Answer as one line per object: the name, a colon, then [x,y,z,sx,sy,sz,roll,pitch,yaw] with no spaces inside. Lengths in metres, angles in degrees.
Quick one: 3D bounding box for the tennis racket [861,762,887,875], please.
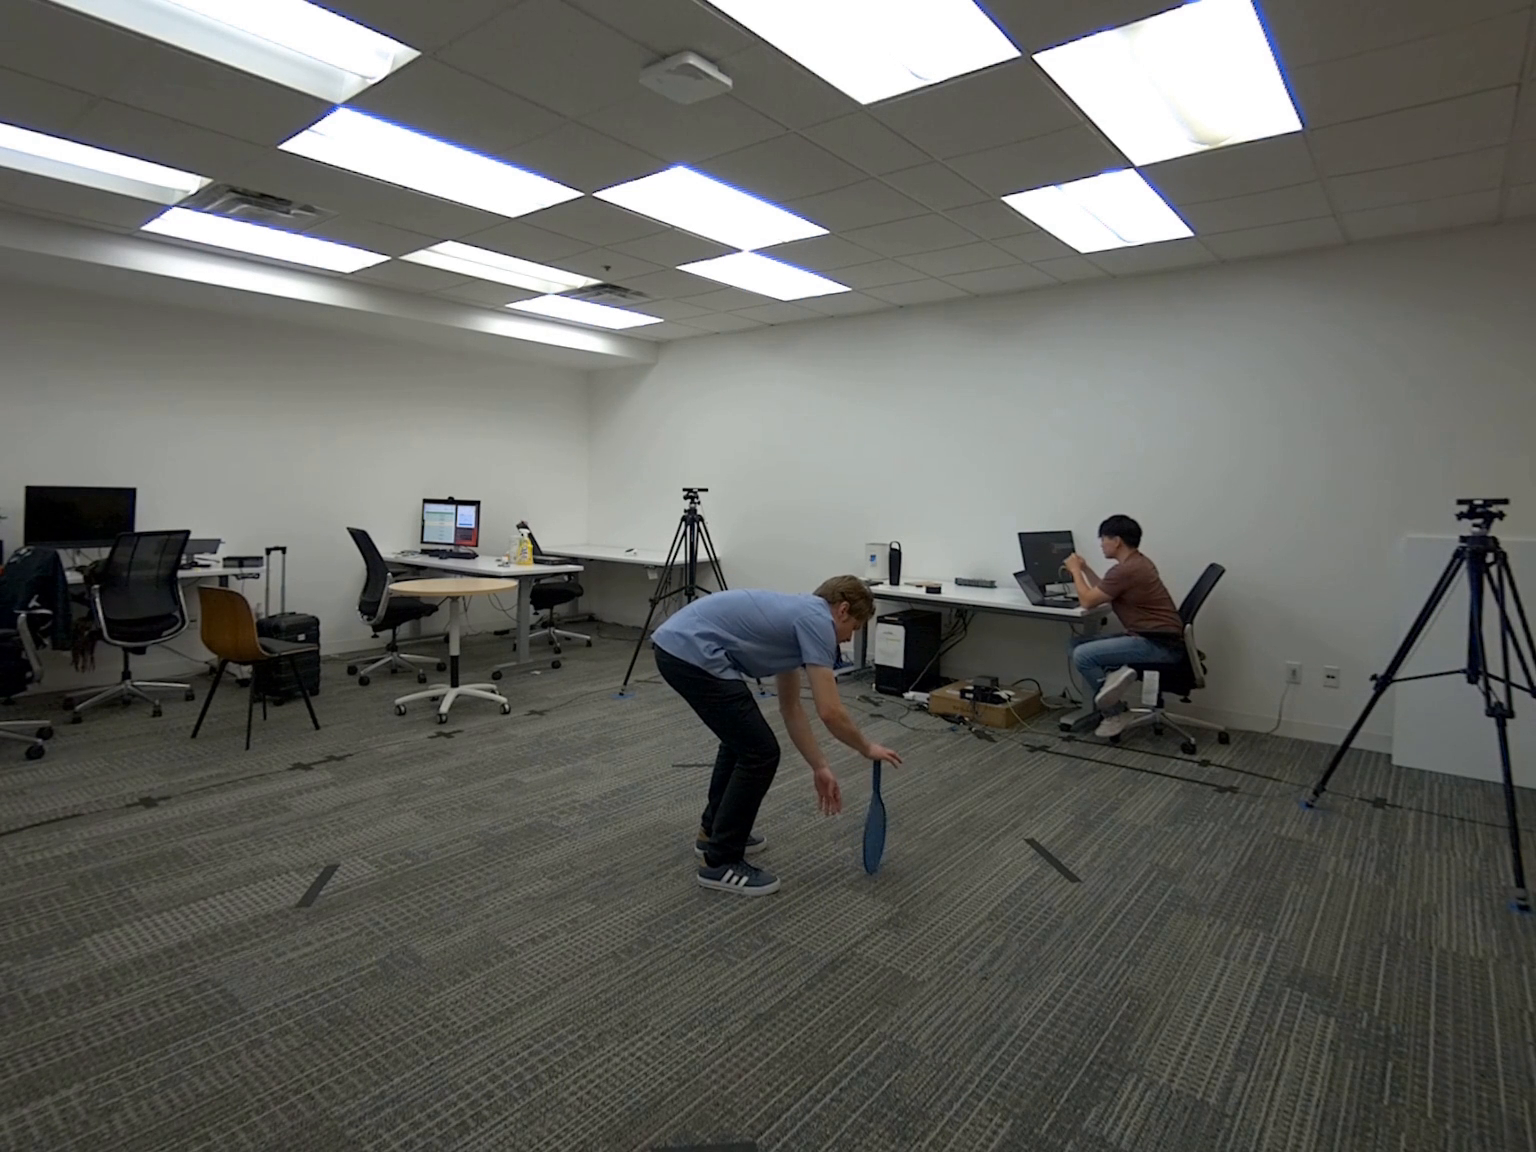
tennis racket: [0.387,0.869,3.112,0.033,0.433,0.207,2,1,31]
